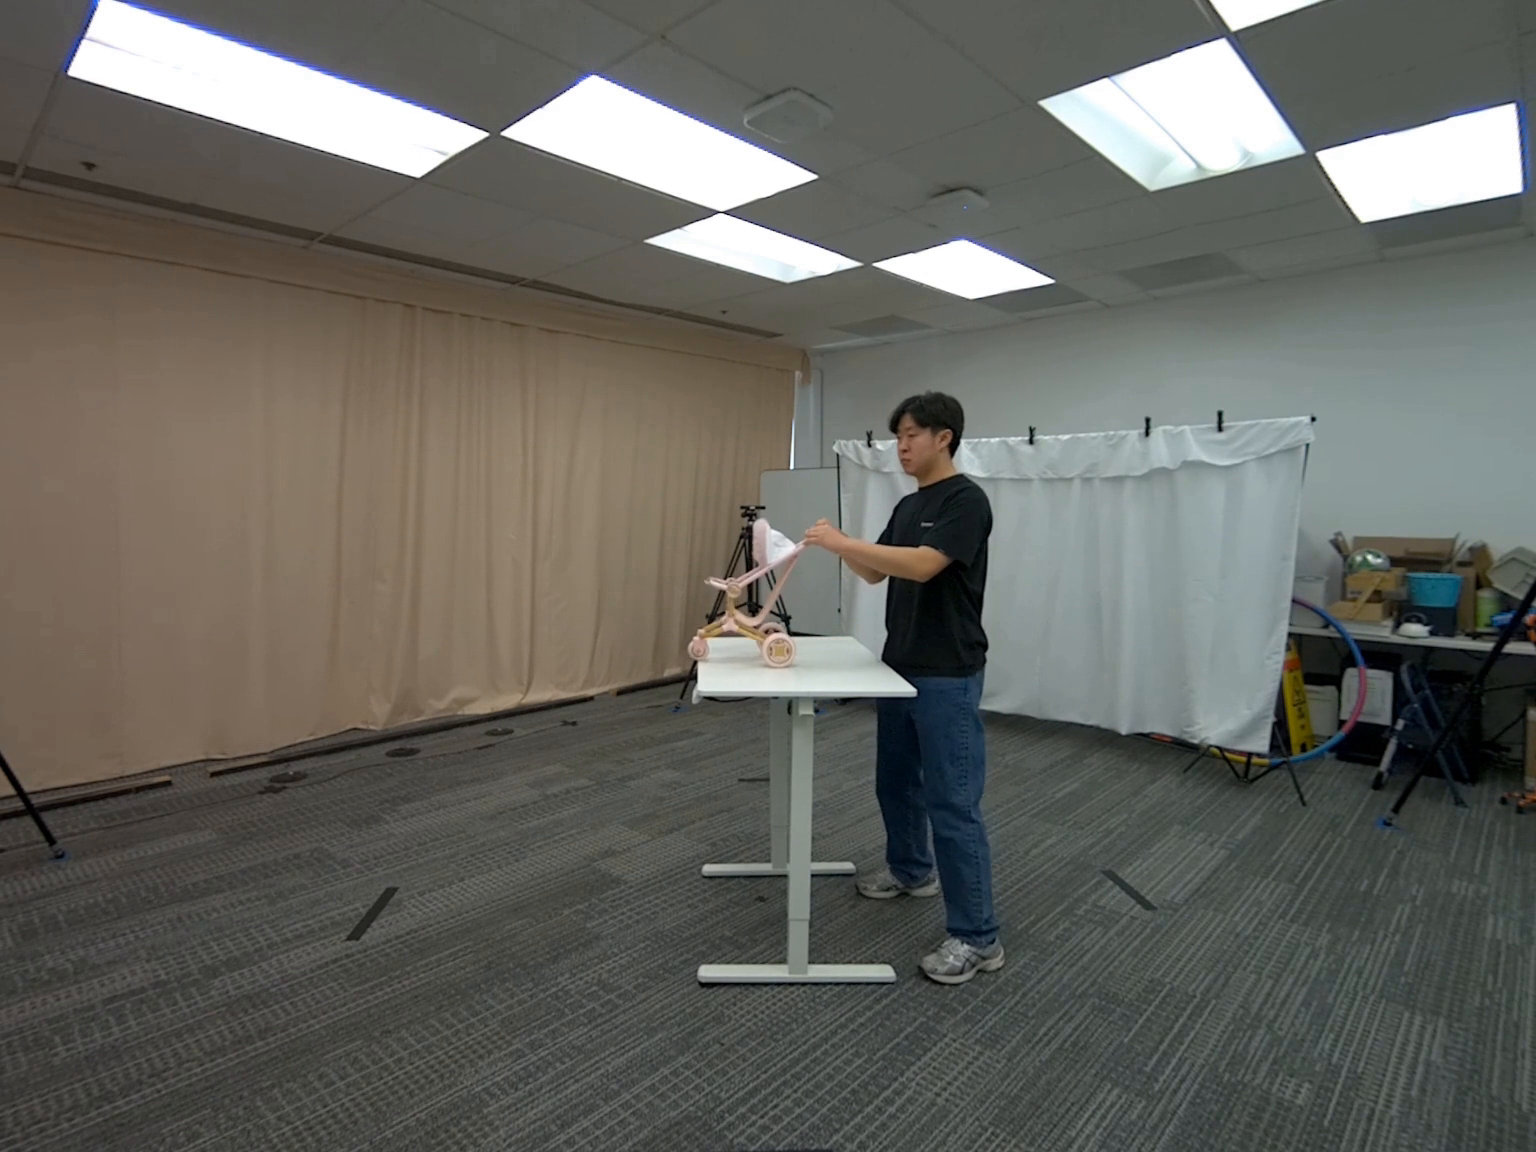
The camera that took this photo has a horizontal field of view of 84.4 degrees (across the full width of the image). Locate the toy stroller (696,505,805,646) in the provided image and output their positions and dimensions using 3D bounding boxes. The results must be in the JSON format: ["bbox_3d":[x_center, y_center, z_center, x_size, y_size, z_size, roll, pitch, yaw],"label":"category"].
[{"bbox_3d":[-0.034,0.056,2.752,0.342,0.534,0.281,15,2,2],"label":"toy stroller"}]
